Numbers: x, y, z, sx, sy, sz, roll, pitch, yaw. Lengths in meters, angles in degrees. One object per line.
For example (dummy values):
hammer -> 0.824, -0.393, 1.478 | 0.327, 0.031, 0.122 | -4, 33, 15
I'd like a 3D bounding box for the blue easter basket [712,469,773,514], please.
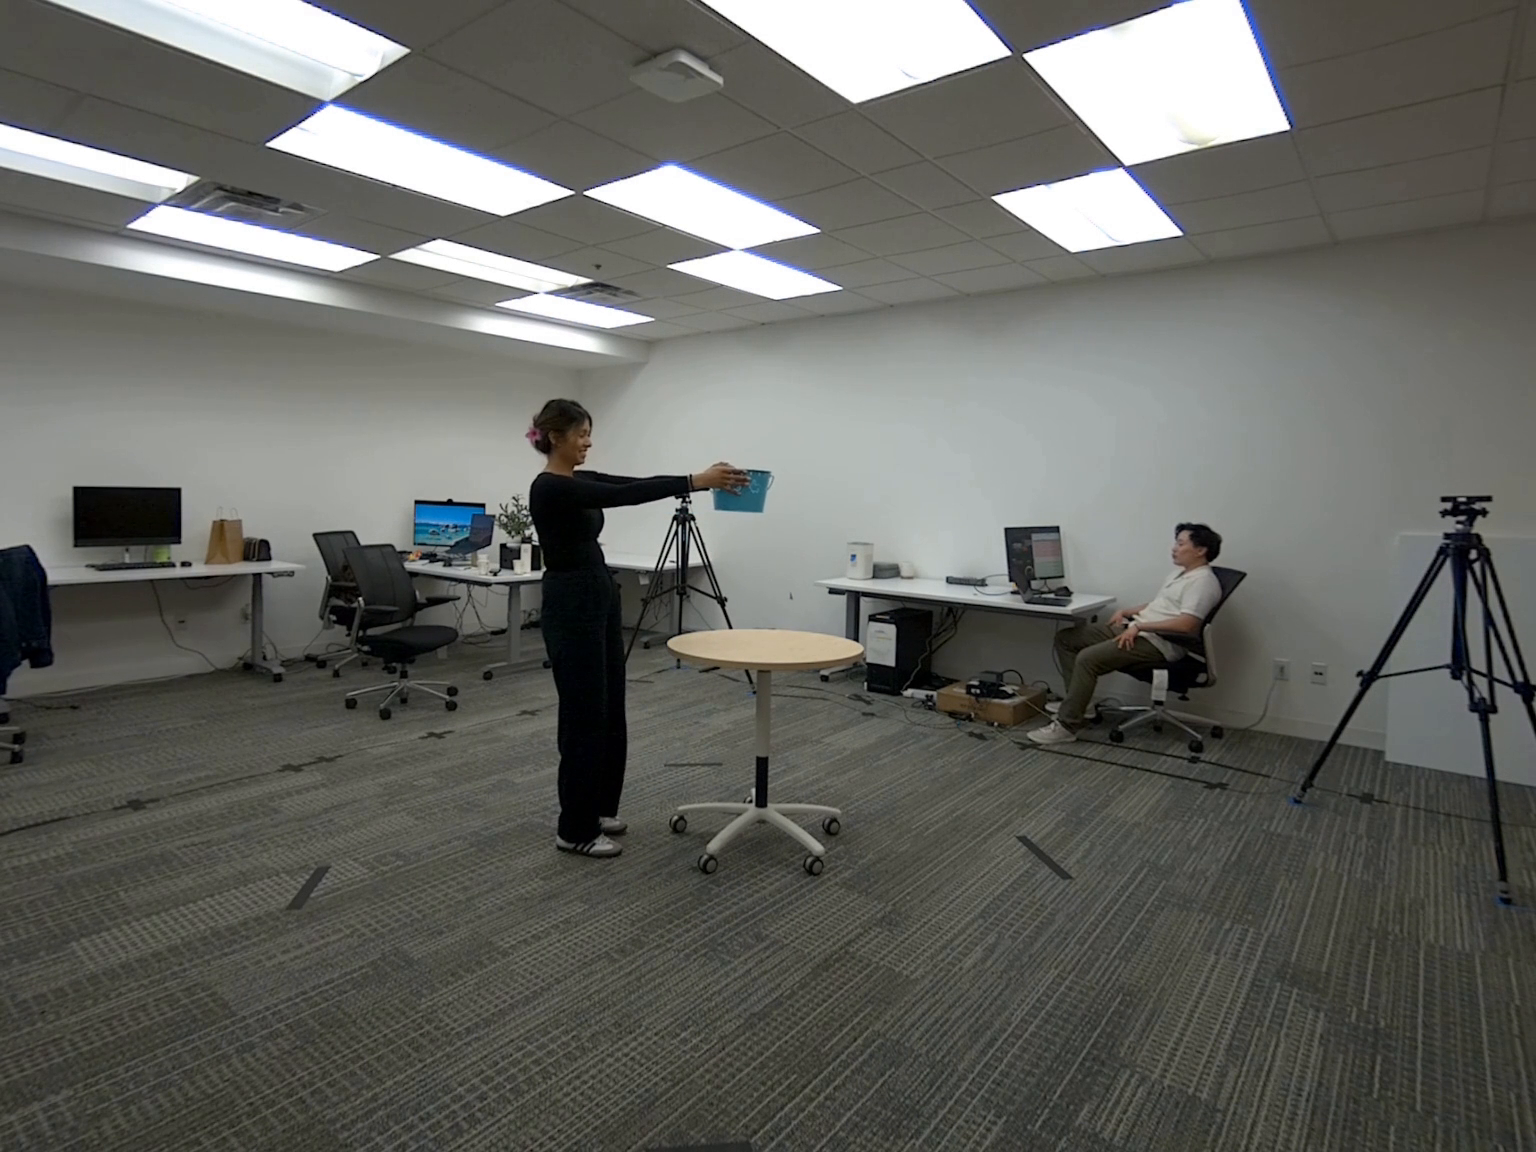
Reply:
blue easter basket -> -0.117, -0.320, 3.138 | 0.243, 0.156, 0.244 | 4, 2, -2
